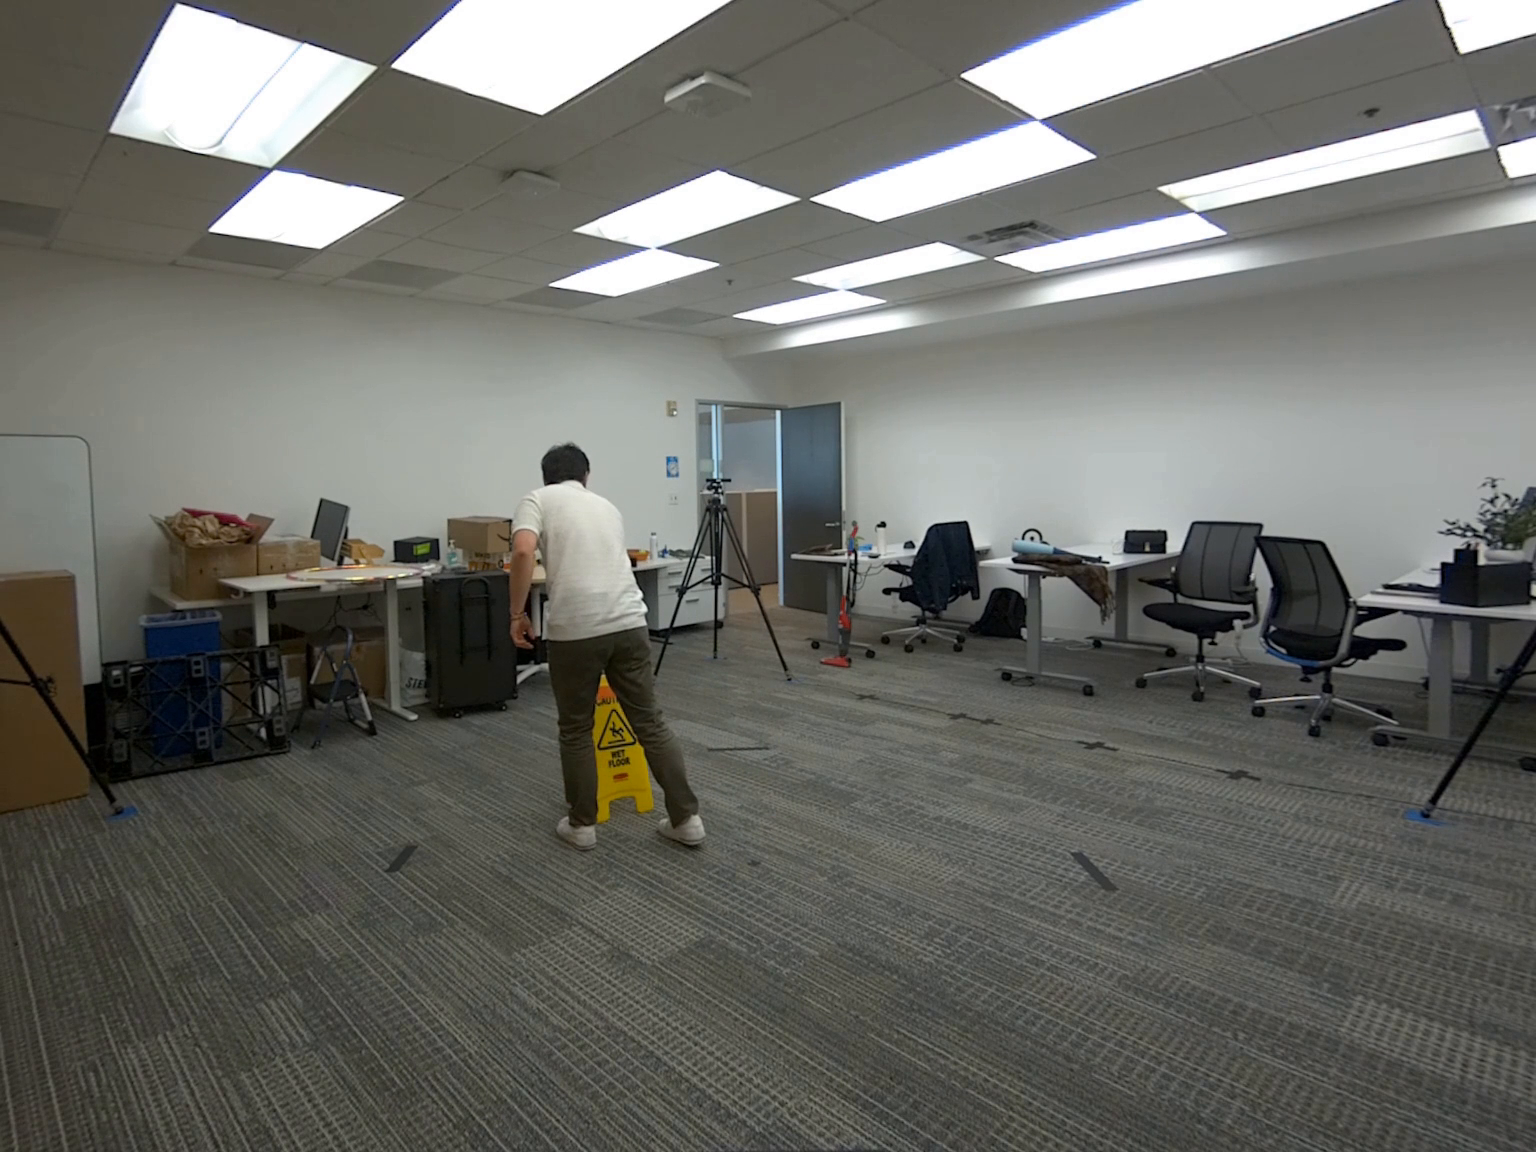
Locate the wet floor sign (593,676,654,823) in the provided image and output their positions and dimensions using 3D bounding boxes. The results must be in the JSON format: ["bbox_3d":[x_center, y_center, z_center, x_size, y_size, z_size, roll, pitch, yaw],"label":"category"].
[{"bbox_3d":[-0.686,0.667,3.675,0.275,0.644,0.298,-4,4,-32],"label":"wet floor sign"}]
